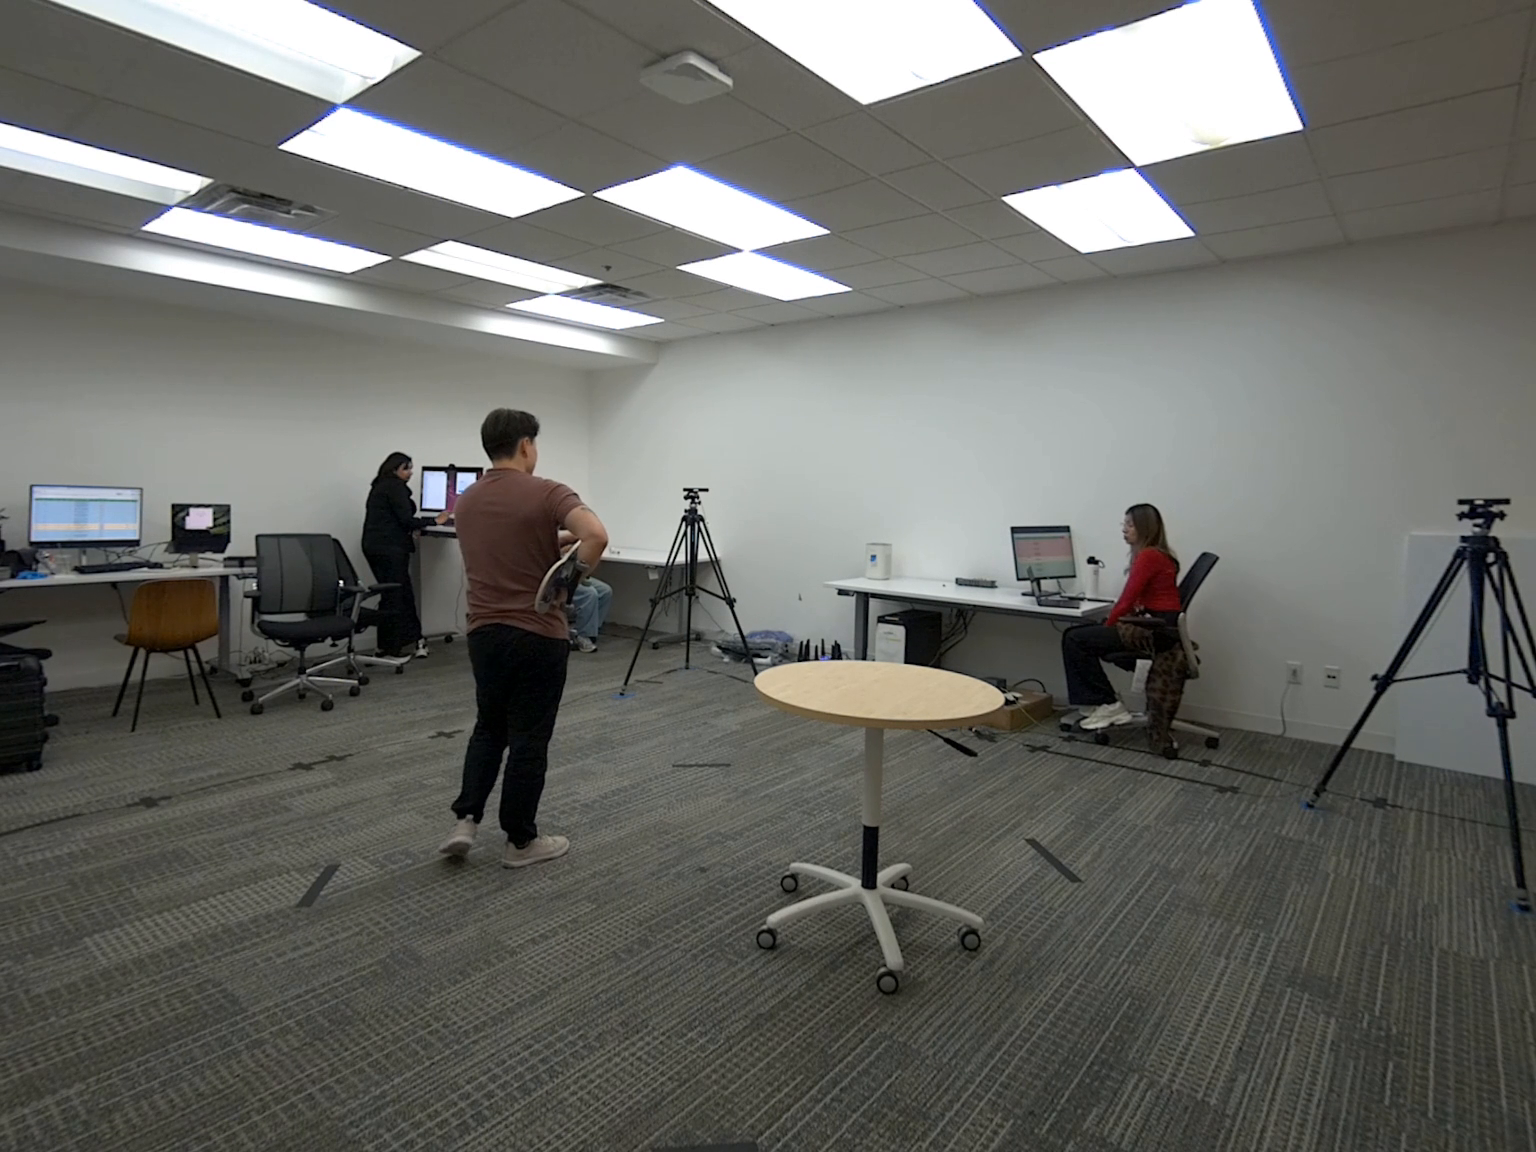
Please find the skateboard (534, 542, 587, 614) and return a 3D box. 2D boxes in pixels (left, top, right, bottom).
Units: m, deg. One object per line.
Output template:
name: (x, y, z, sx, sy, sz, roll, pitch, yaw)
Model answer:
skateboard: (-0.707, -0.025, 3.112, 0.110, 0.192, 0.792, 20, 9, -5)
